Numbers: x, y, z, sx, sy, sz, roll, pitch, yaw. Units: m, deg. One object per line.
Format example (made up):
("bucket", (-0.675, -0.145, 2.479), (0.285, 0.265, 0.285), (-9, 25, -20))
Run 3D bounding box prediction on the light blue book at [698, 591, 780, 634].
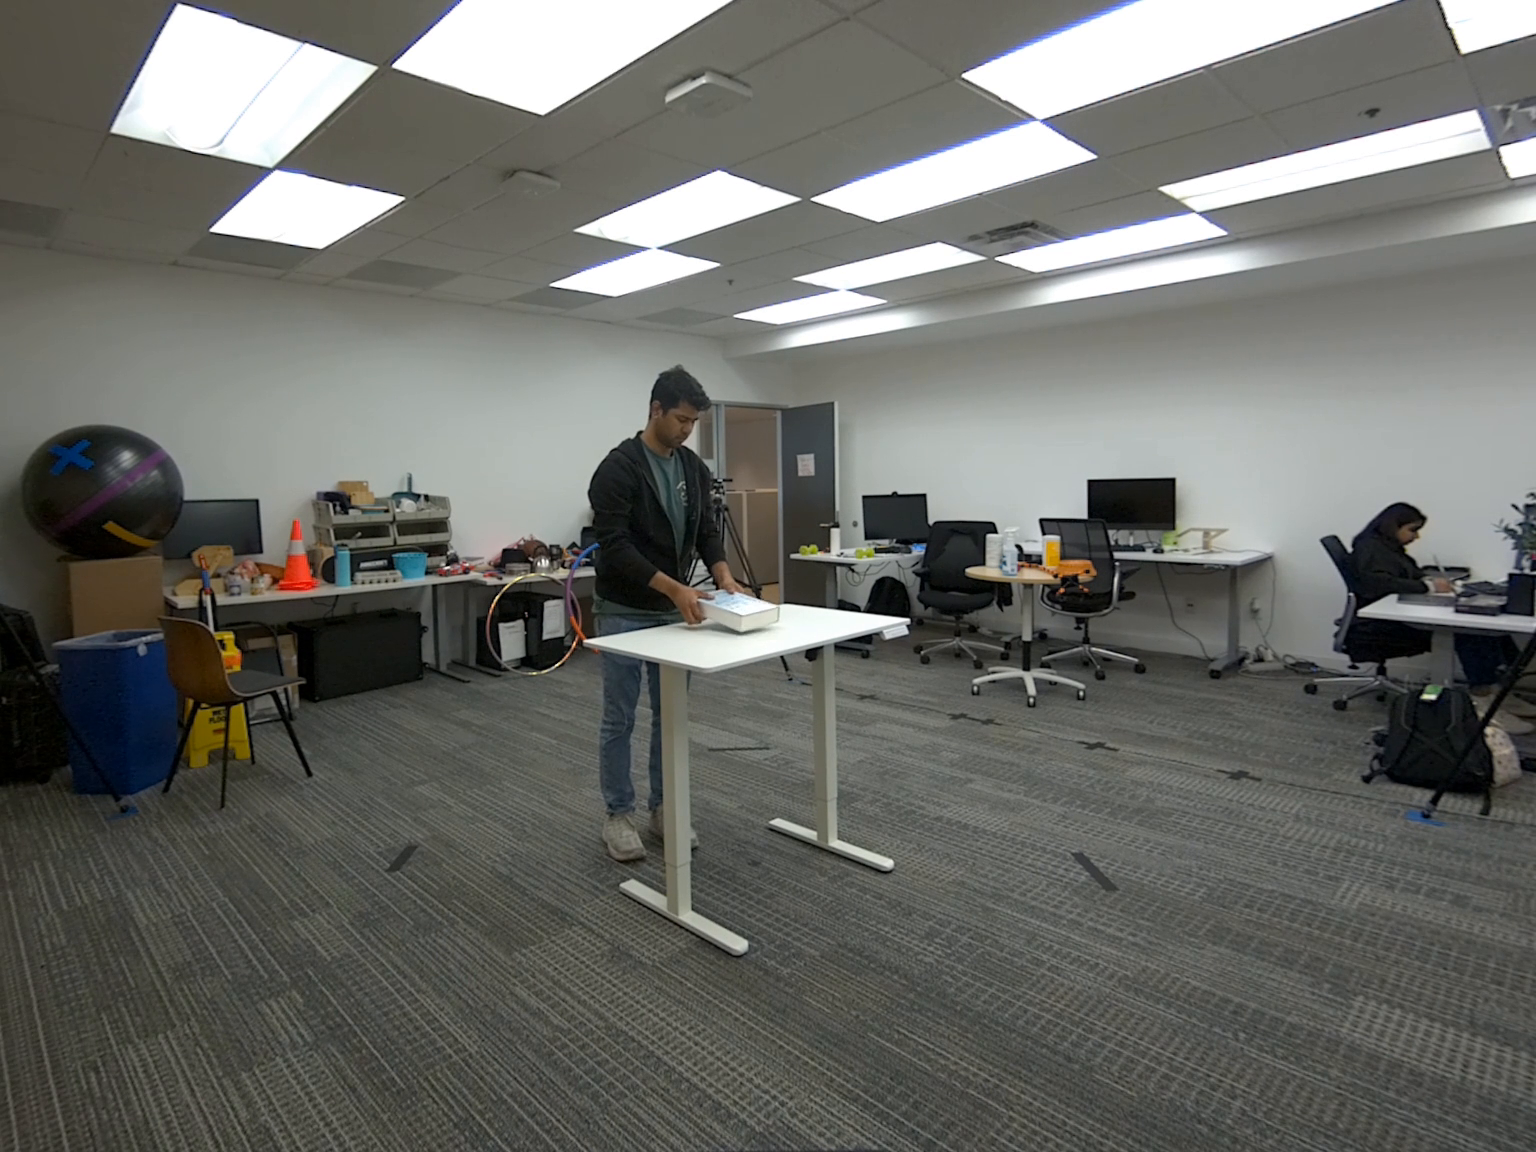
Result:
("light blue book", (-0.114, 0.112, 2.933), (0.270, 0.058, 0.187), (12, 16, 38))
